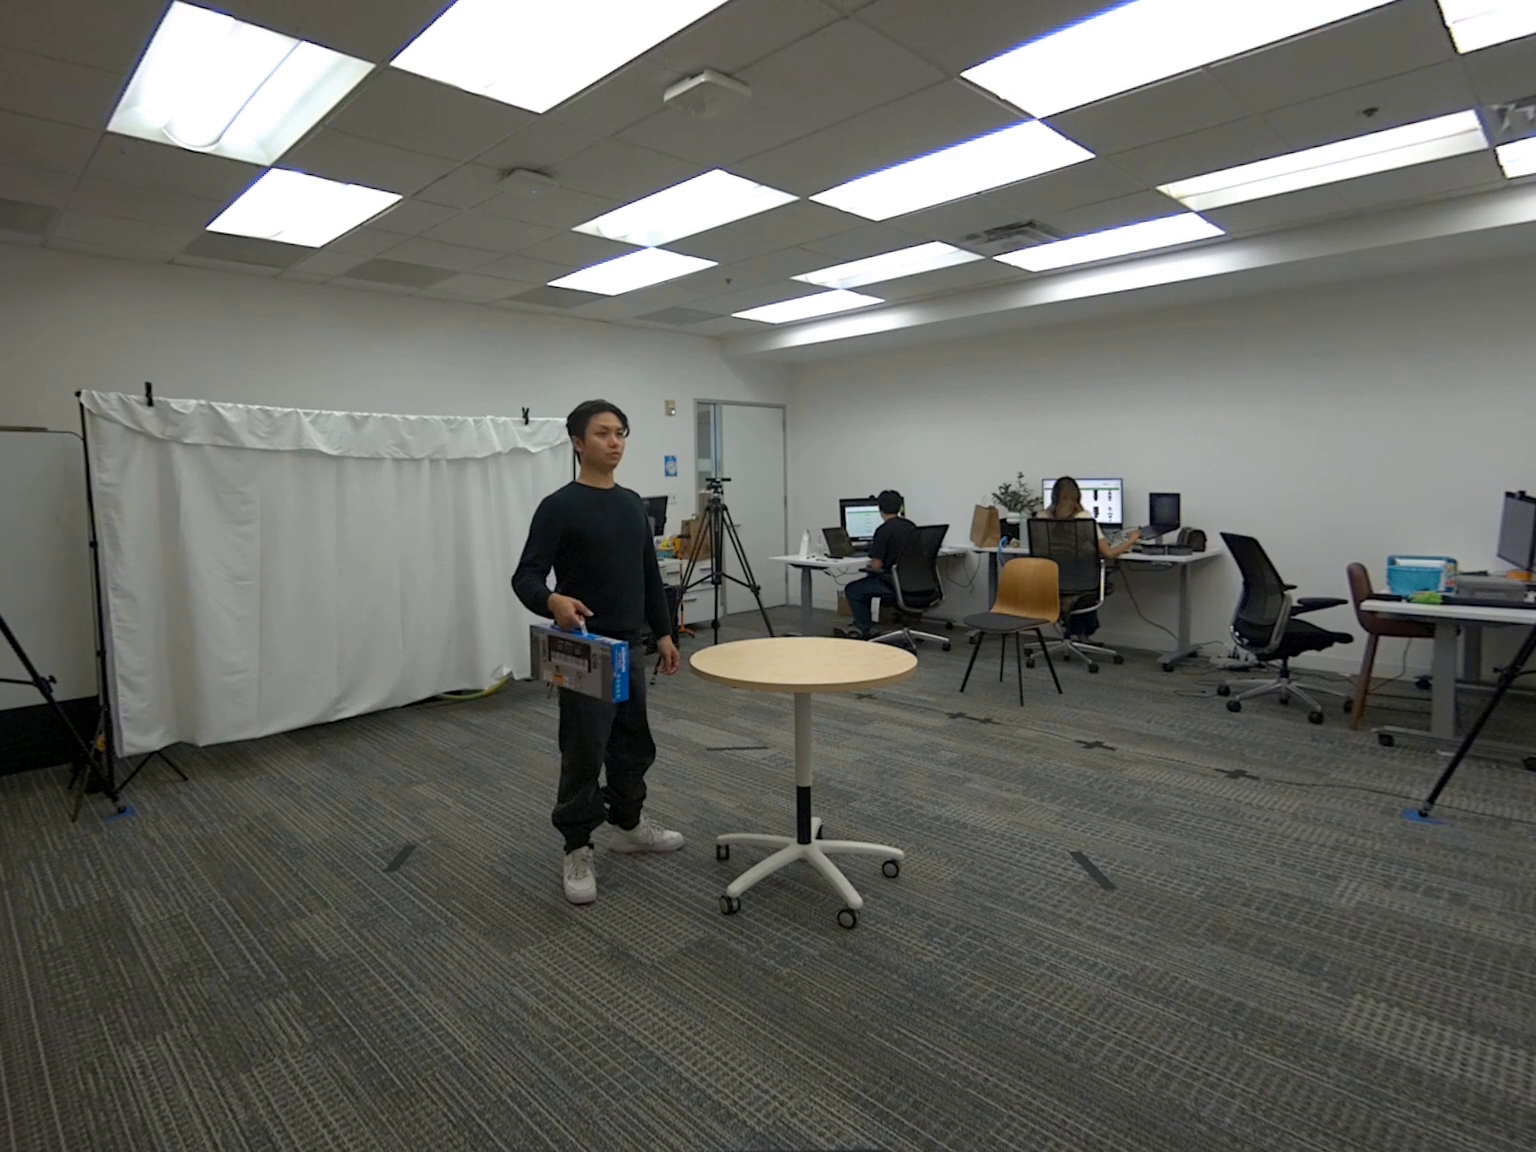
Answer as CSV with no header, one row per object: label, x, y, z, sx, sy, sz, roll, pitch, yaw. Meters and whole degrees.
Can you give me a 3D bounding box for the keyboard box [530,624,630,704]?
keyboard box,-0.587,0.263,2.617,0.451,0.175,0.057,6,8,44
